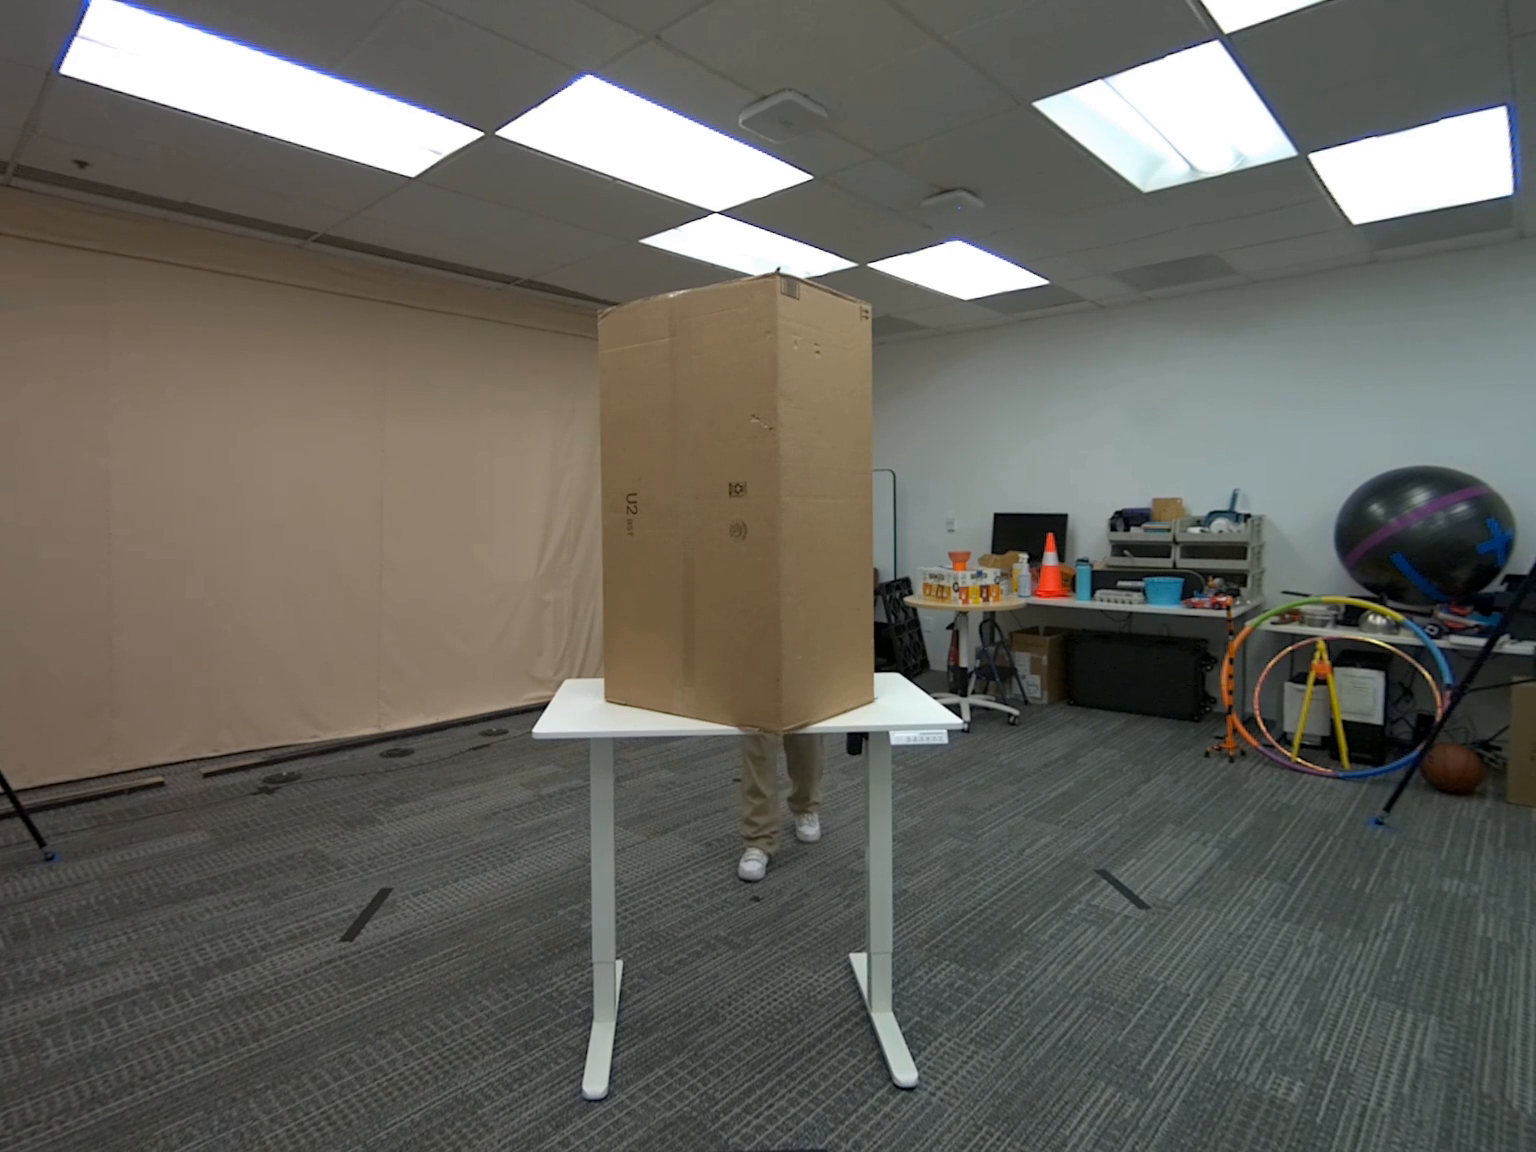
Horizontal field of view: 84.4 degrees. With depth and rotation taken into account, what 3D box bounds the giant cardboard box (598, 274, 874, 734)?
[{"bbox_3d":[-0.081,-0.180,2.179,0.596,1.024,0.413,1,3,38],"label":"giant cardboard box"}]
